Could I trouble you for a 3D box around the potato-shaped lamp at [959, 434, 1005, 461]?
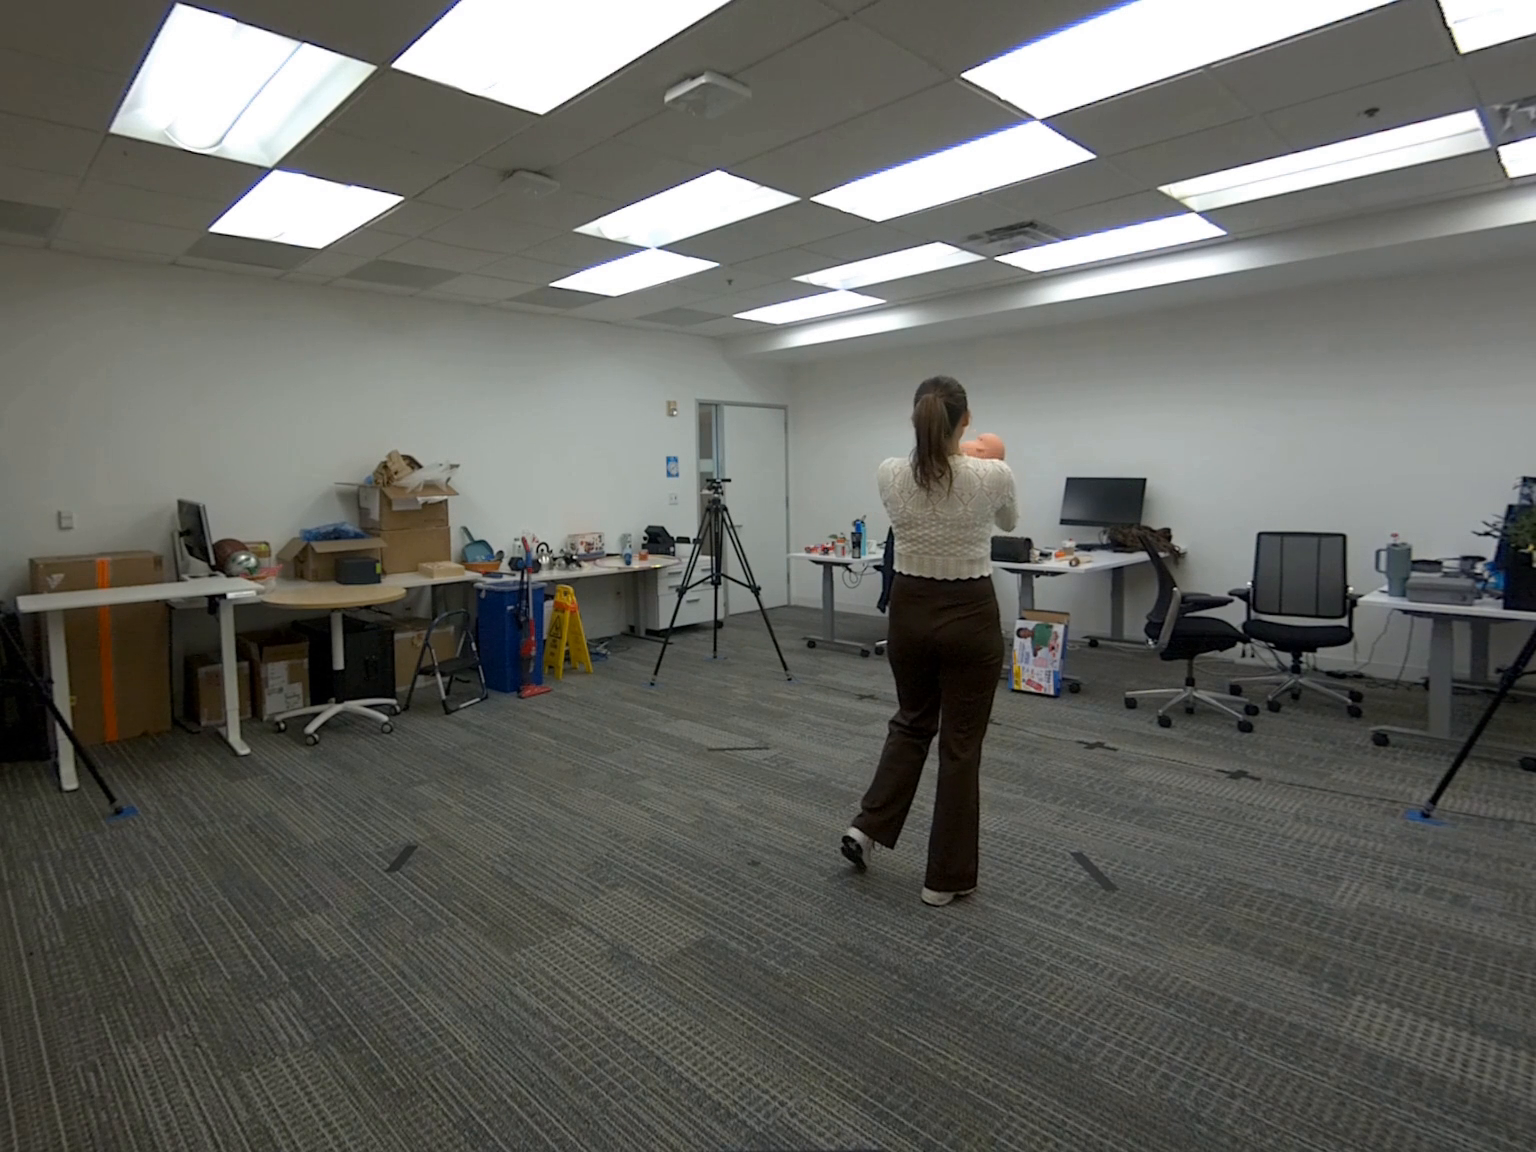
[{"bbox_3d":[0.807,-0.449,3.242,0.199,0.176,0.160,-24,-21,6],"label":"potato-shaped lamp"}]
